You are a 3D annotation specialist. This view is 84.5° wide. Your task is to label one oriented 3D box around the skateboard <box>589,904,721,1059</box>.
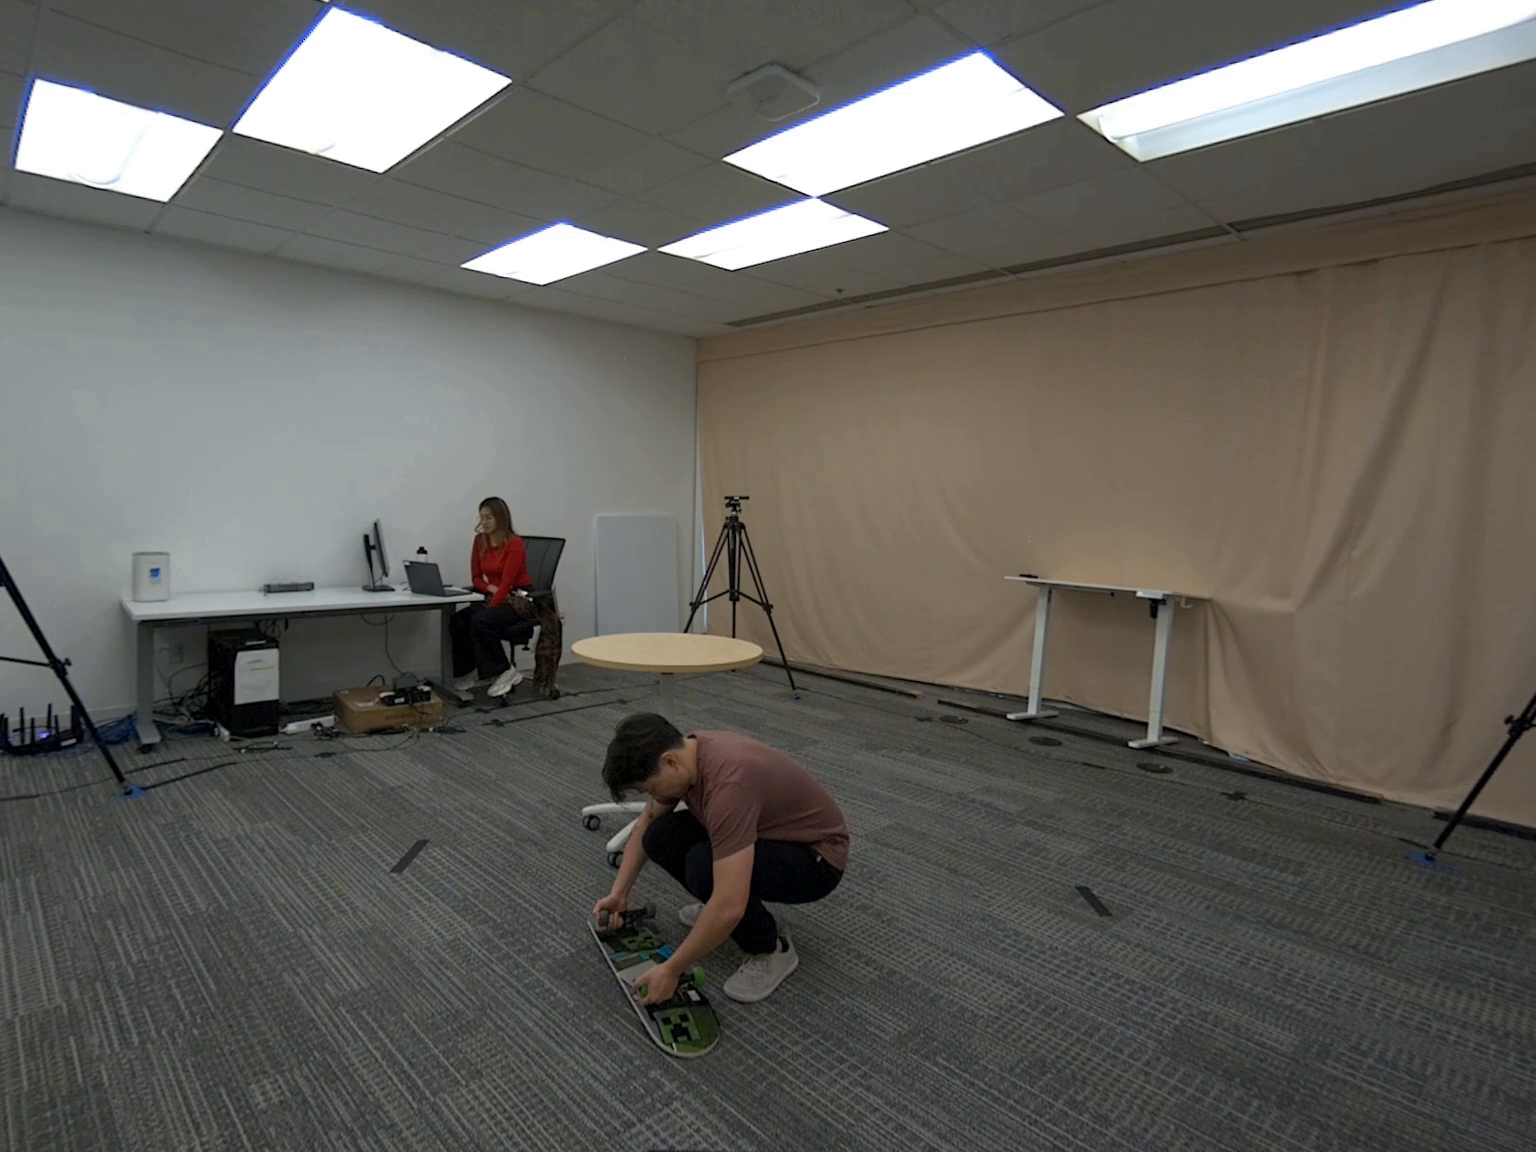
[{"bbox_3d":[-0.357,1.100,2.451,0.190,0.110,0.803,0,6,-27],"label":"skateboard"}]
